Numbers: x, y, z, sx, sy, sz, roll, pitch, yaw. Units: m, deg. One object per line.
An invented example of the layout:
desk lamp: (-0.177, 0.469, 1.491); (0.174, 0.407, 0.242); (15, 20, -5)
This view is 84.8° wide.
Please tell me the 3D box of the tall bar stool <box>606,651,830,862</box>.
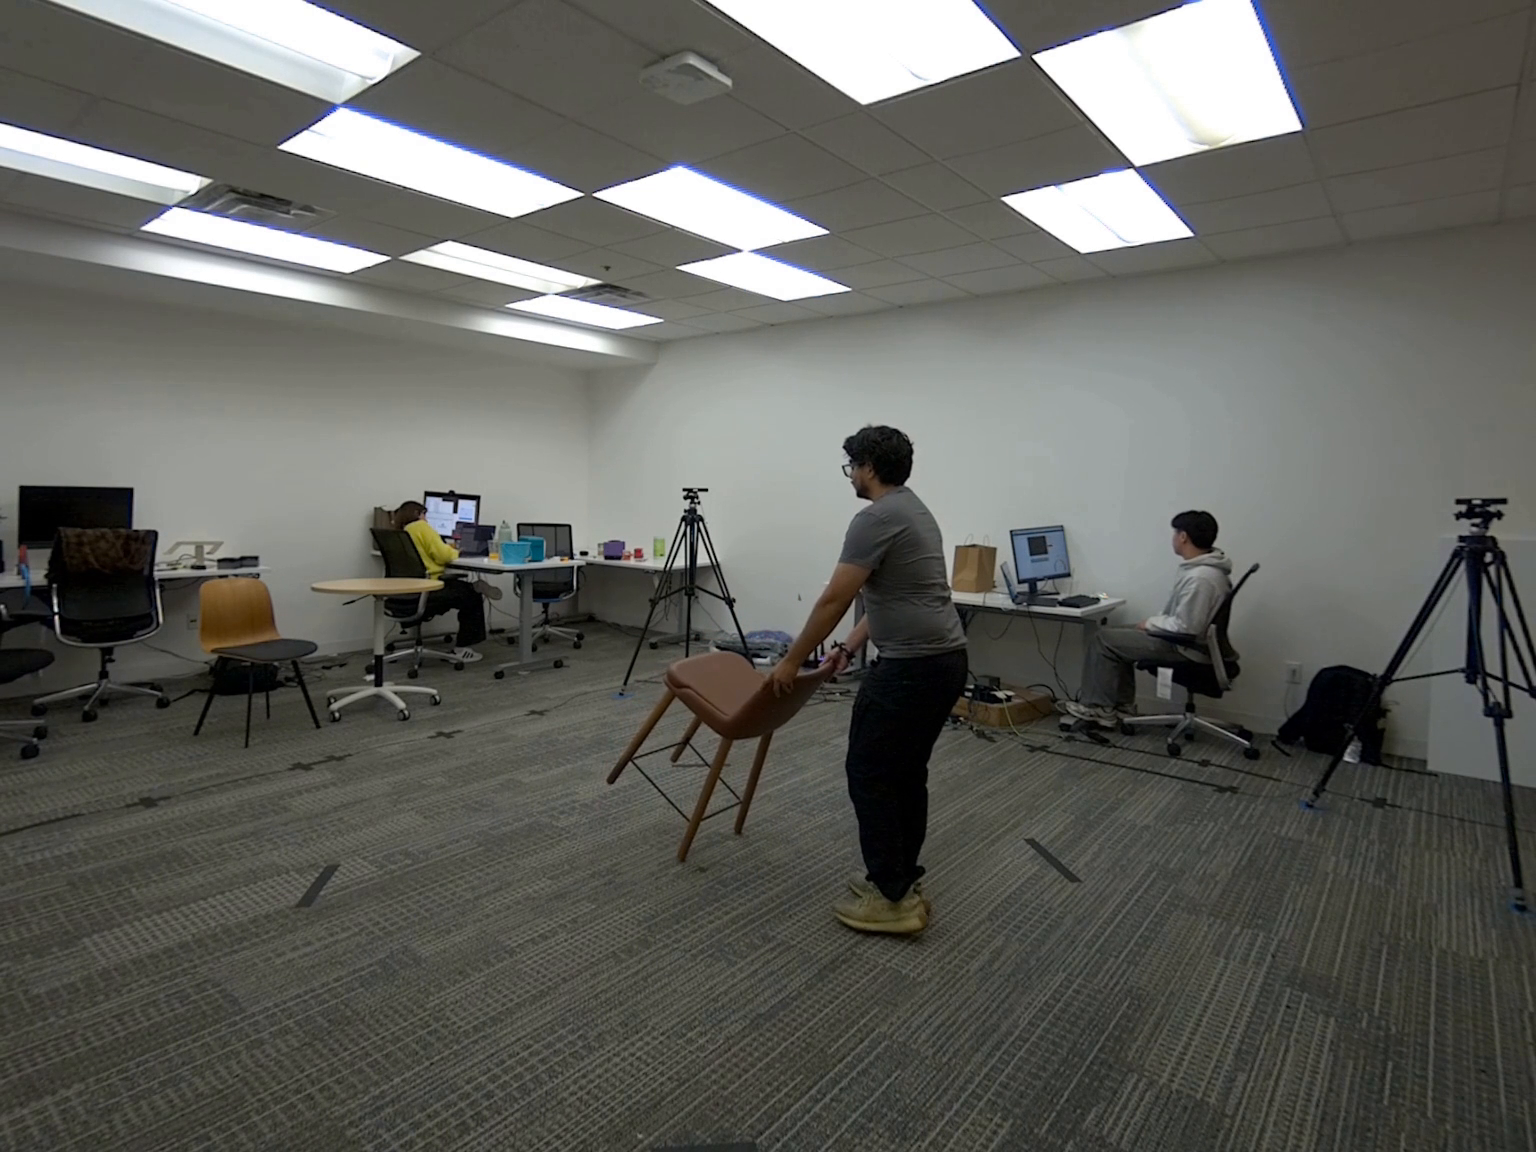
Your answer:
tall bar stool: (-0.192, 0.570, 3.270); (0.485, 0.883, 0.443); (41, 25, 29)
